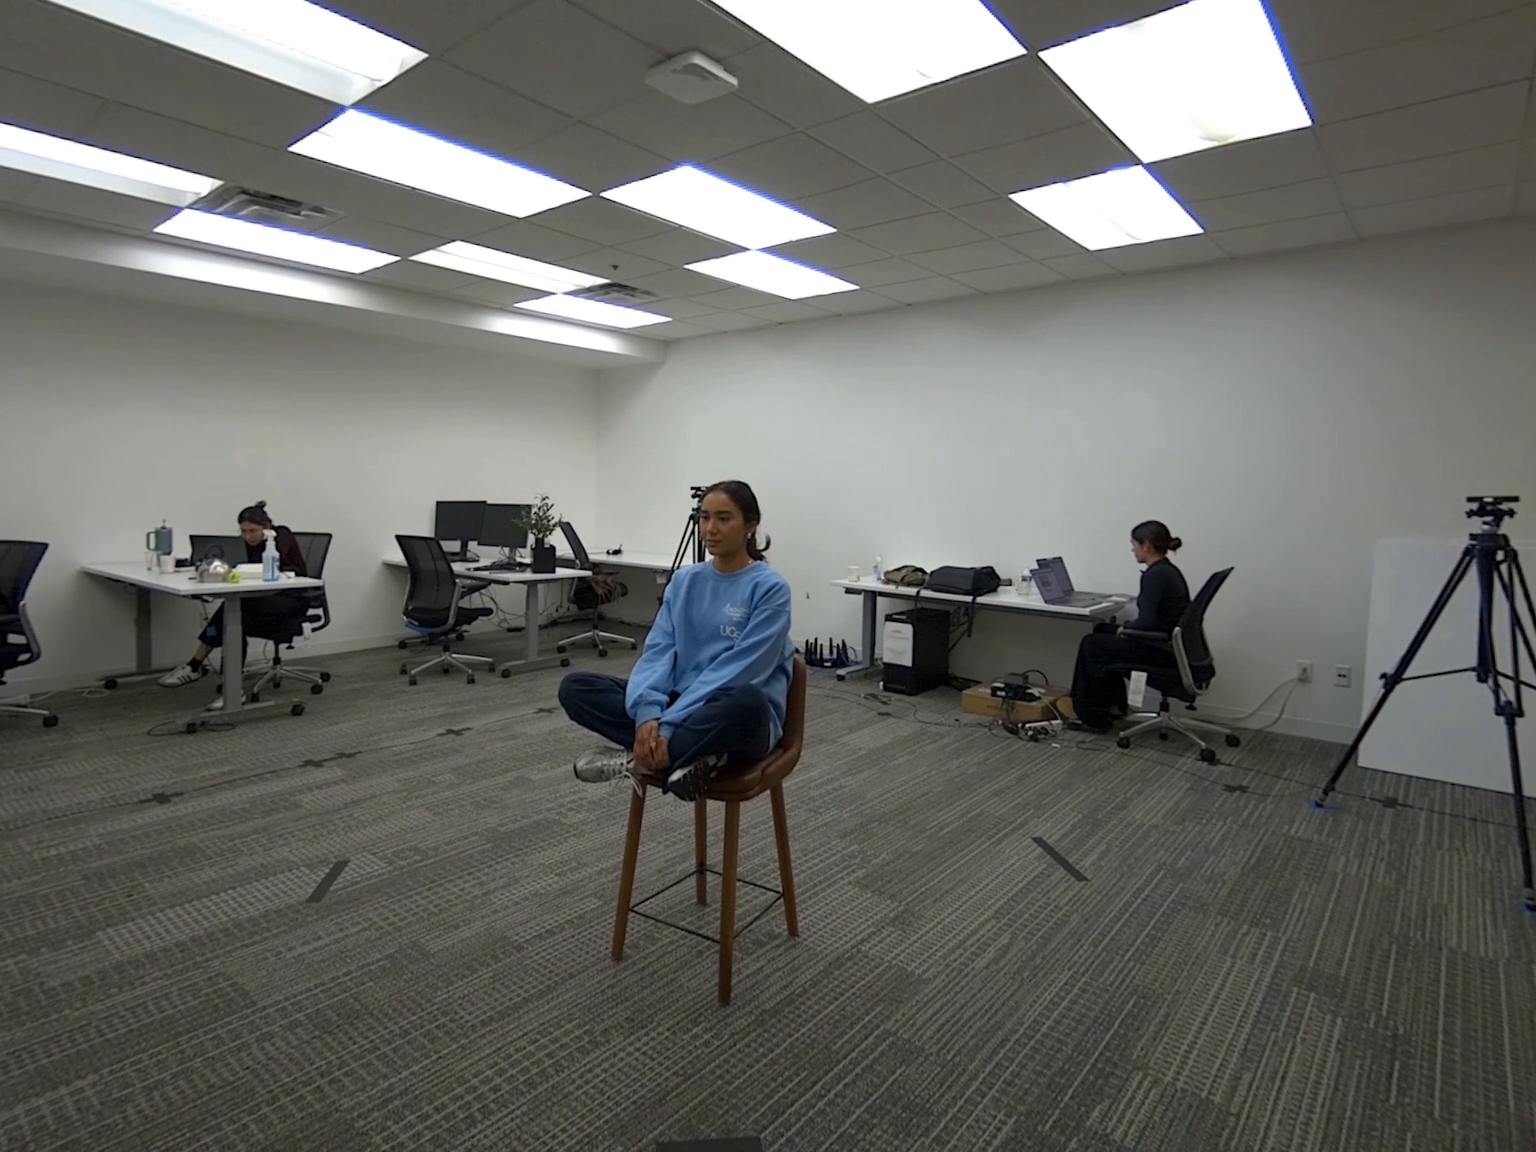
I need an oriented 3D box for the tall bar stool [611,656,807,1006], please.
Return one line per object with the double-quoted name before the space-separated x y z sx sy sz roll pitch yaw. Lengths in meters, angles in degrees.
"tall bar stool" -0.169 0.687 2.557 0.470 0.888 0.454 4 2 32
